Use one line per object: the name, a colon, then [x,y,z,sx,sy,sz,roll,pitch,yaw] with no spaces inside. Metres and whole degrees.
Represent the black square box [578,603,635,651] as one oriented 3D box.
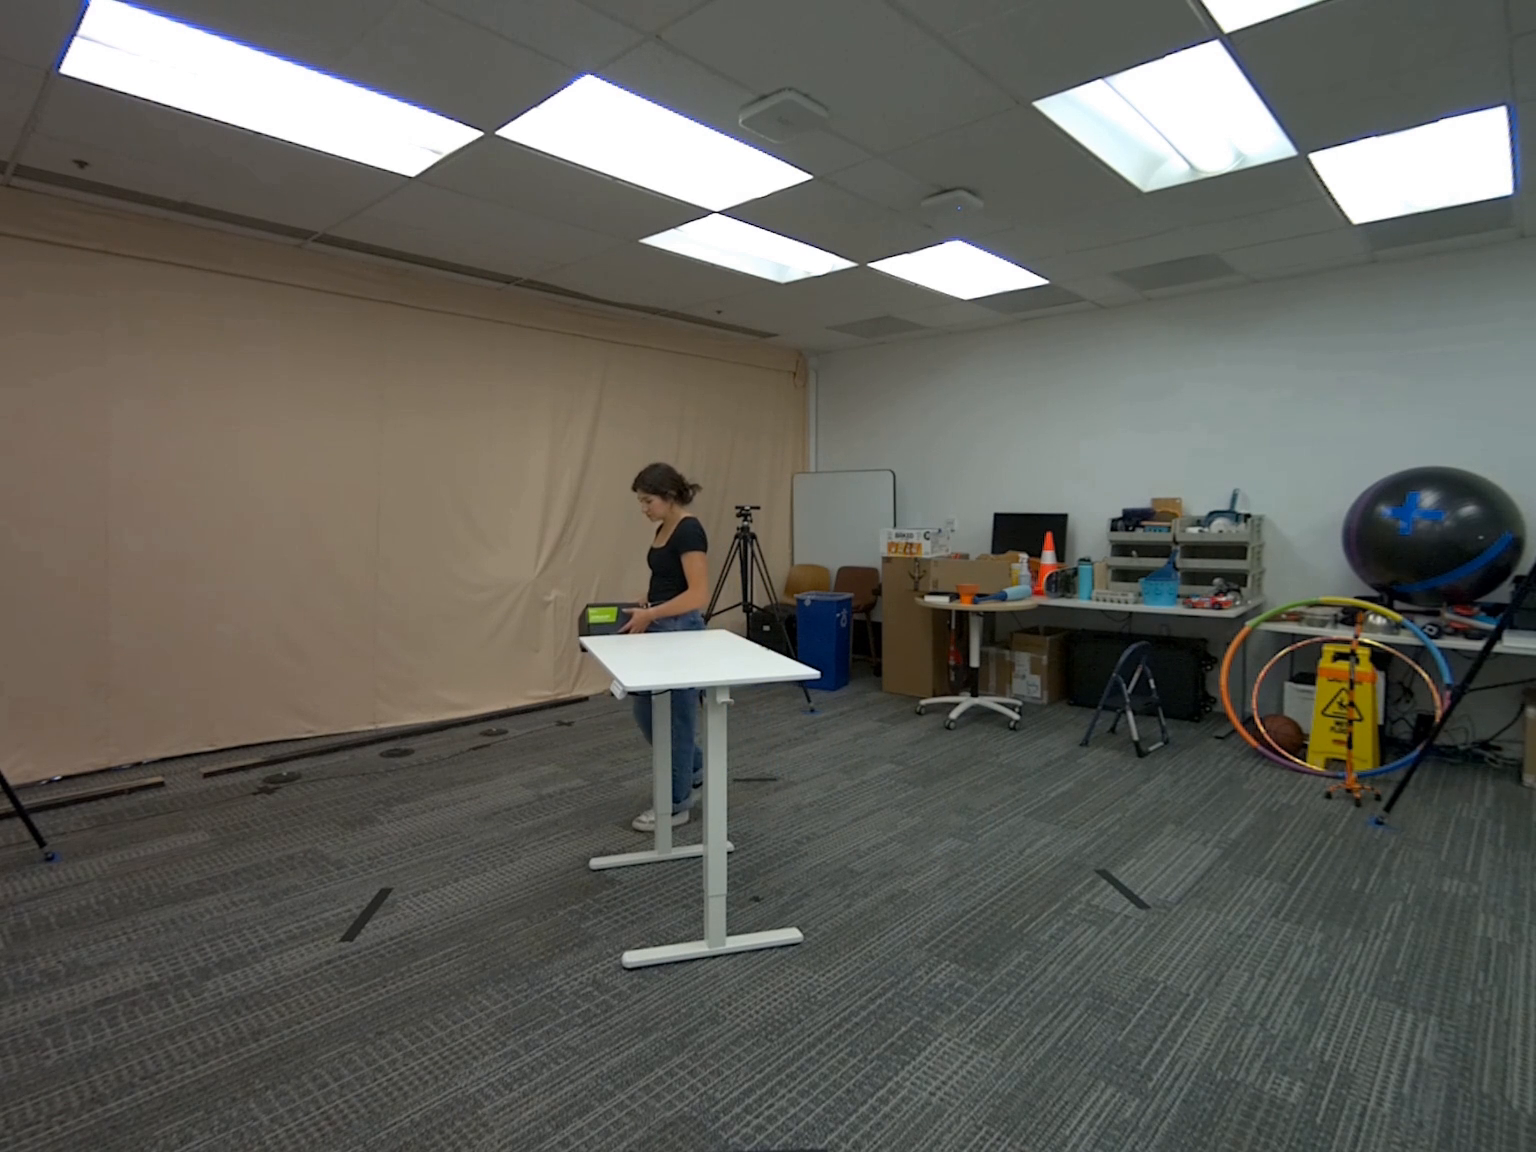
black square box: [-0.686,0.220,3.641,0.223,0.158,0.219,-1,-18,-21]
